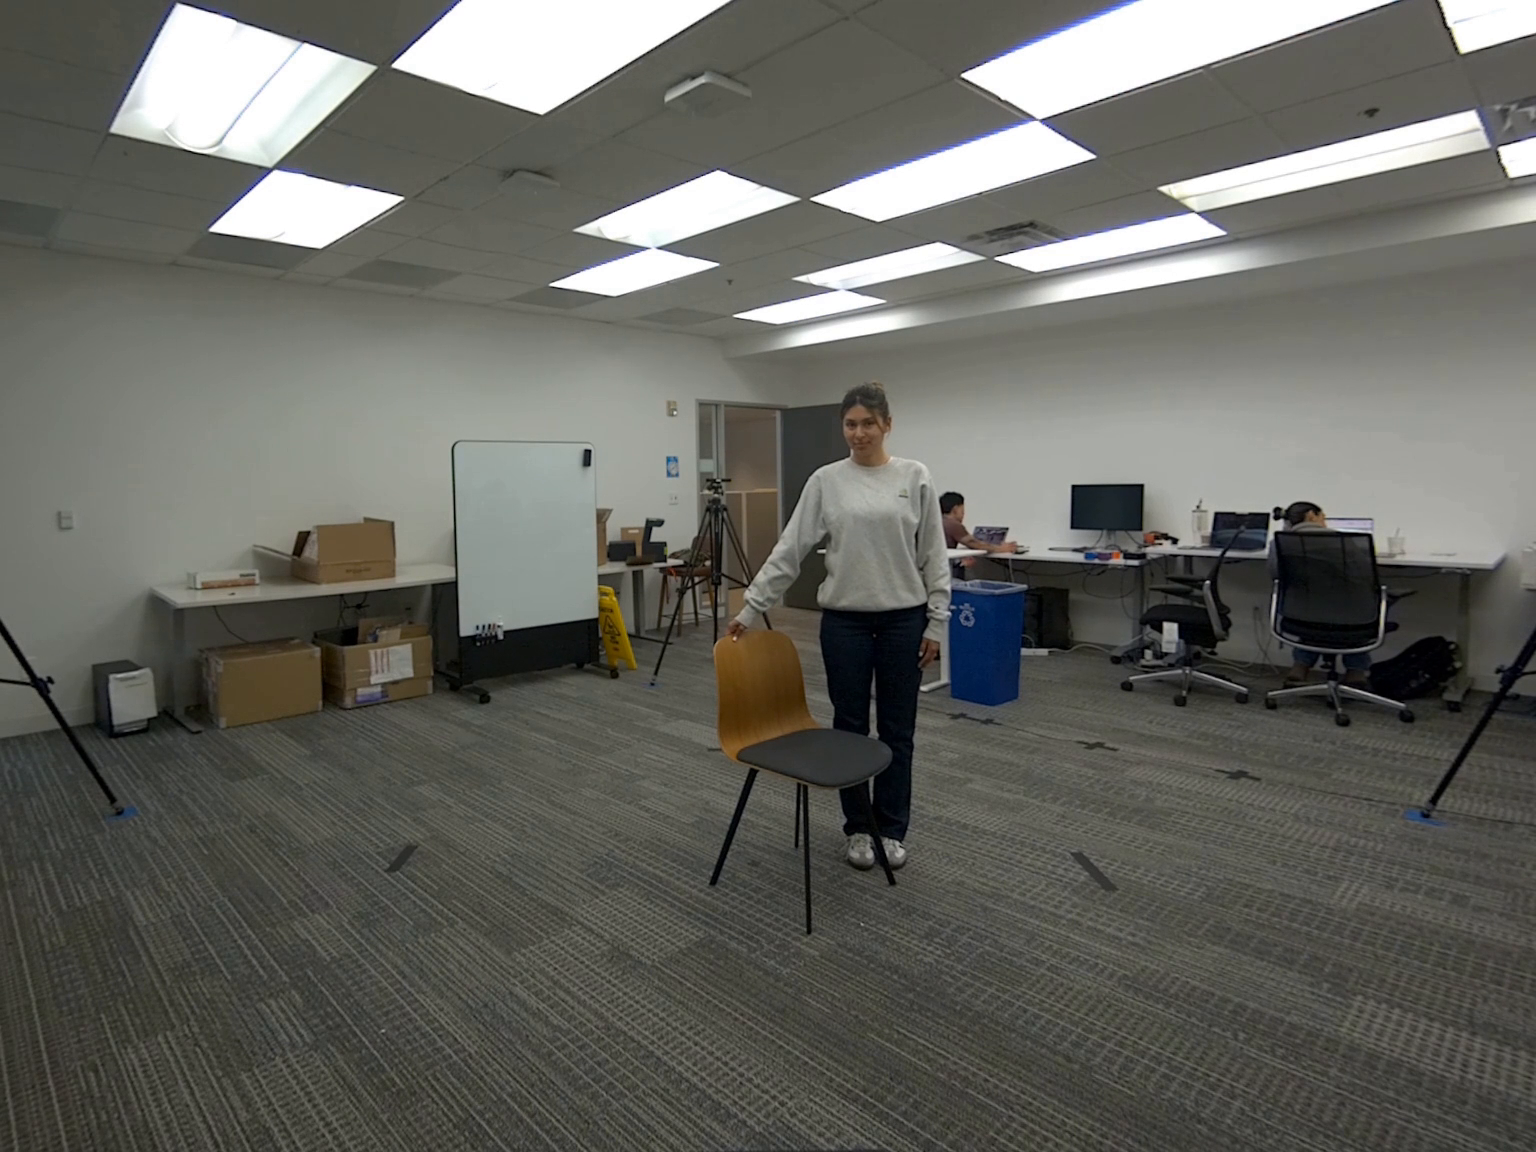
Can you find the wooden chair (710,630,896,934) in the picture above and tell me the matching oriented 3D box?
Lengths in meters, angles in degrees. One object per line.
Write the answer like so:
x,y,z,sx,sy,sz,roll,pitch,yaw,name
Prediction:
0.114,0.640,2.890,0.465,0.877,0.538,-4,1,-45,wooden chair
